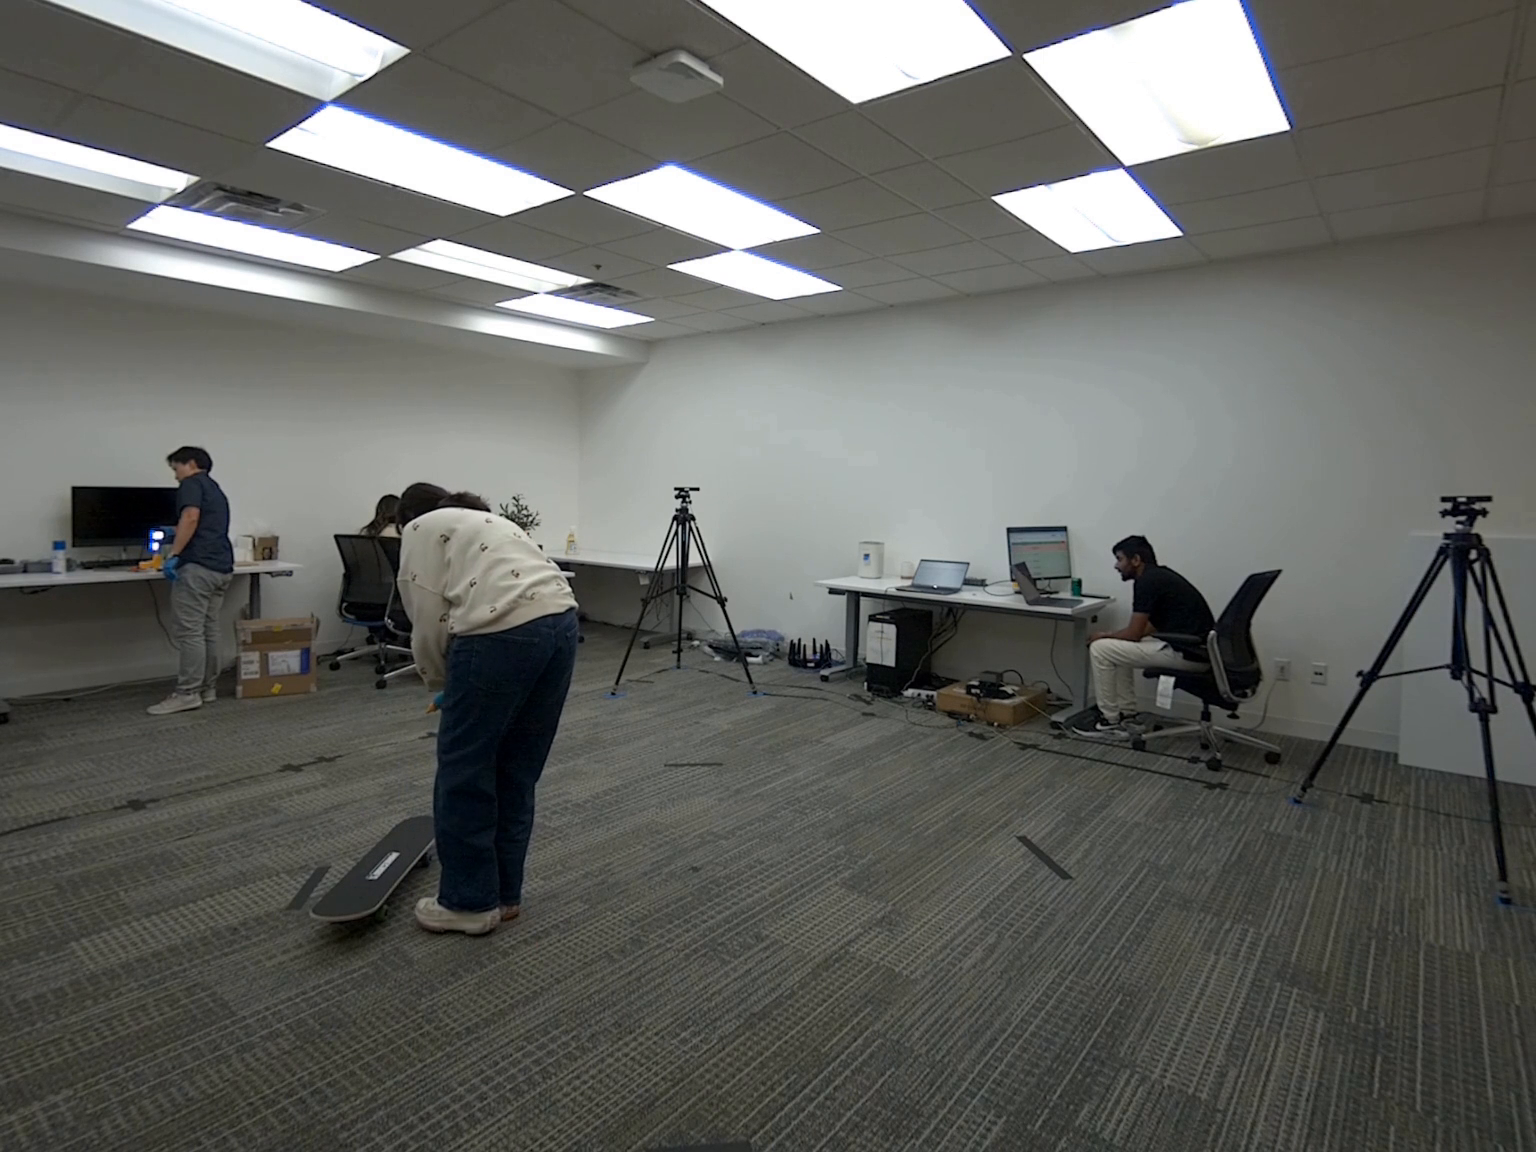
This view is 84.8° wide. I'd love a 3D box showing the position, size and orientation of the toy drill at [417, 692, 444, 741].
[{"bbox_3d":[-1.166,0.485,3.046,0.170,0.150,0.059,-35,-22,15],"label":"toy drill"}]
